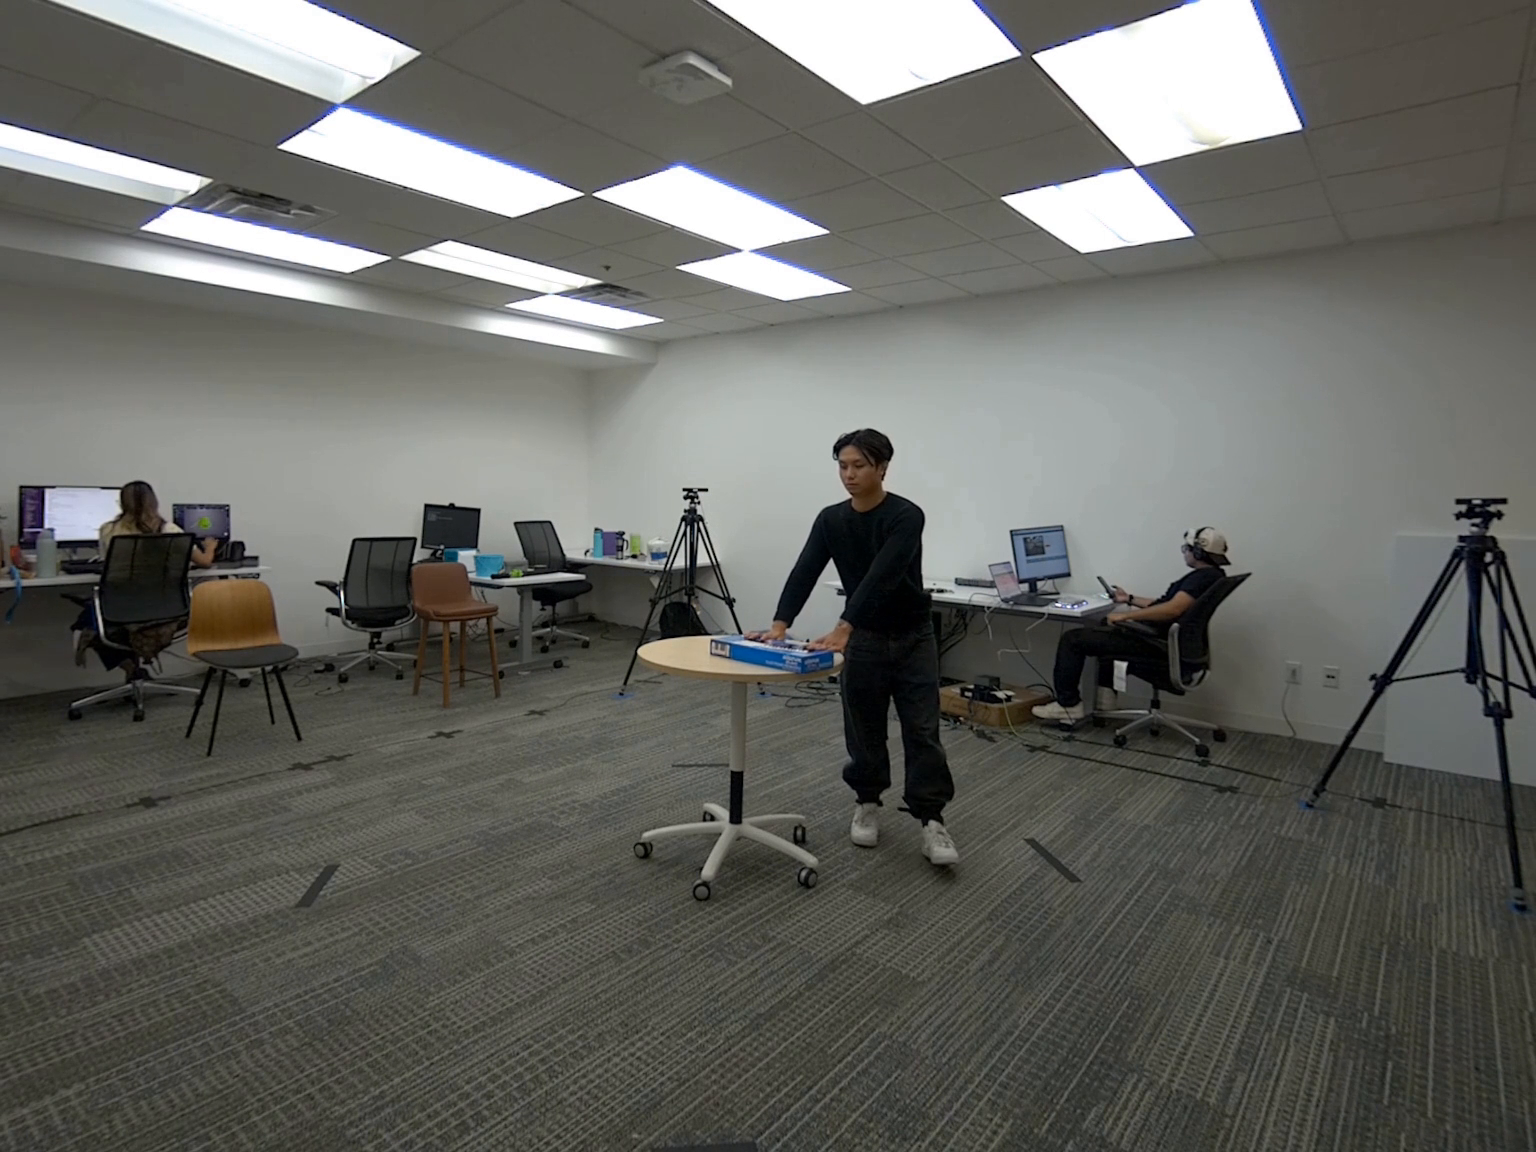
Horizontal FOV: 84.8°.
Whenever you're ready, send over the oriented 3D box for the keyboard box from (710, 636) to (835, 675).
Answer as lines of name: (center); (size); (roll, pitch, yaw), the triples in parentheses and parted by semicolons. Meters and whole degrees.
keyboard box: (-0.002, 0.271, 3.023); (0.452, 0.059, 0.170); (5, 5, 42)
